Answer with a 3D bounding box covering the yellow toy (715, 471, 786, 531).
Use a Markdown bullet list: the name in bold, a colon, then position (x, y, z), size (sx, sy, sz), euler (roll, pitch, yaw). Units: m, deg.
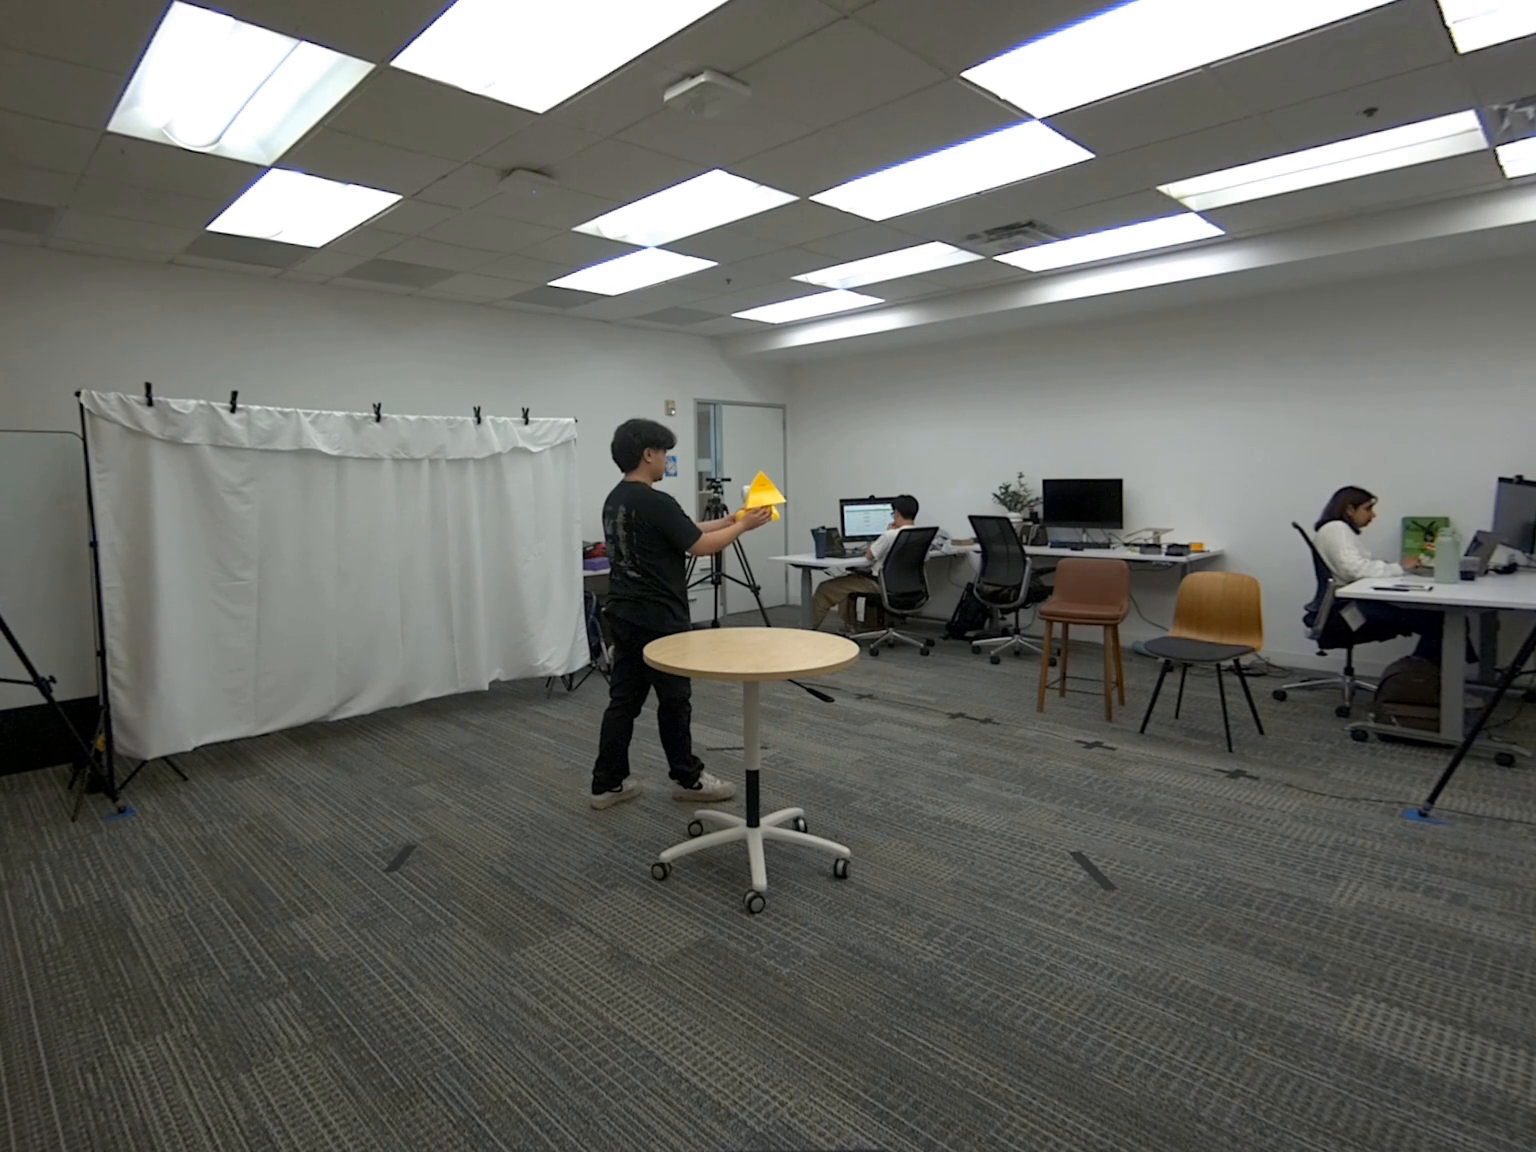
- **yellow toy**: position (-0.058, -0.365, 3.890), size (0.201, 0.228, 0.199), euler (-11, 12, -28)
